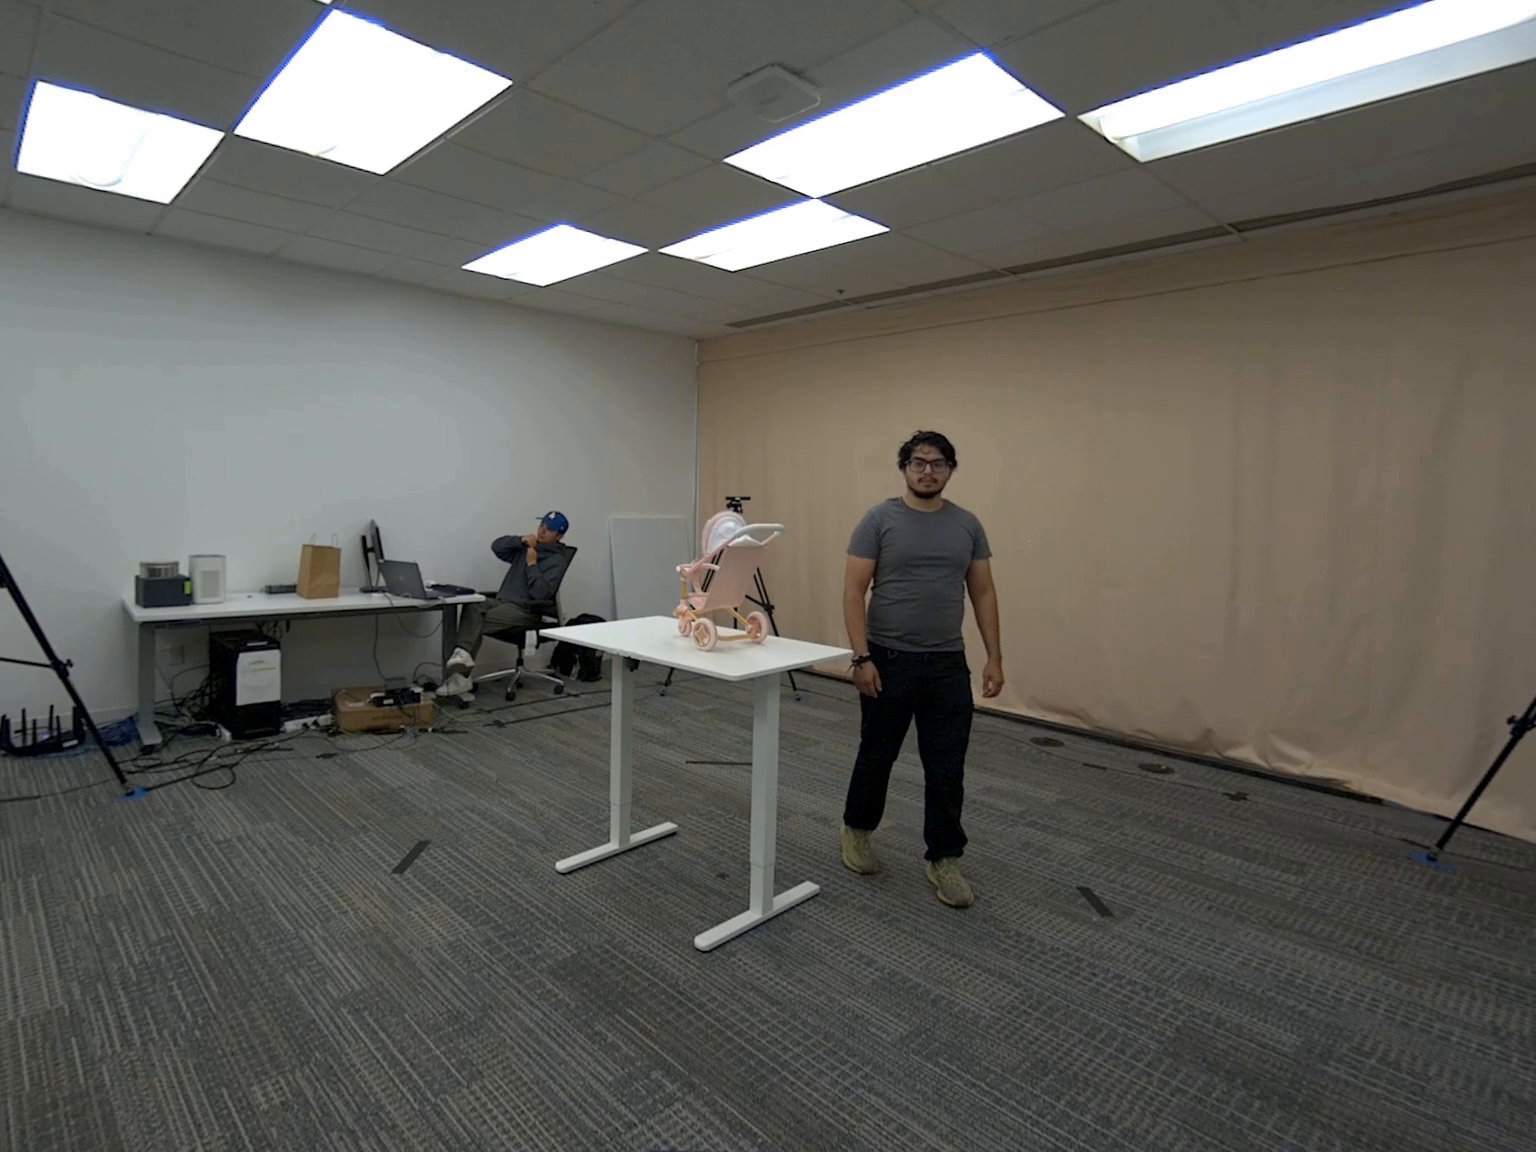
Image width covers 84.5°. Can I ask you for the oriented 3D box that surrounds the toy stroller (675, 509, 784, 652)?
[{"bbox_3d":[-0.172,0.018,2.923,0.275,0.530,0.352,-2,22,-41],"label":"toy stroller"}]
